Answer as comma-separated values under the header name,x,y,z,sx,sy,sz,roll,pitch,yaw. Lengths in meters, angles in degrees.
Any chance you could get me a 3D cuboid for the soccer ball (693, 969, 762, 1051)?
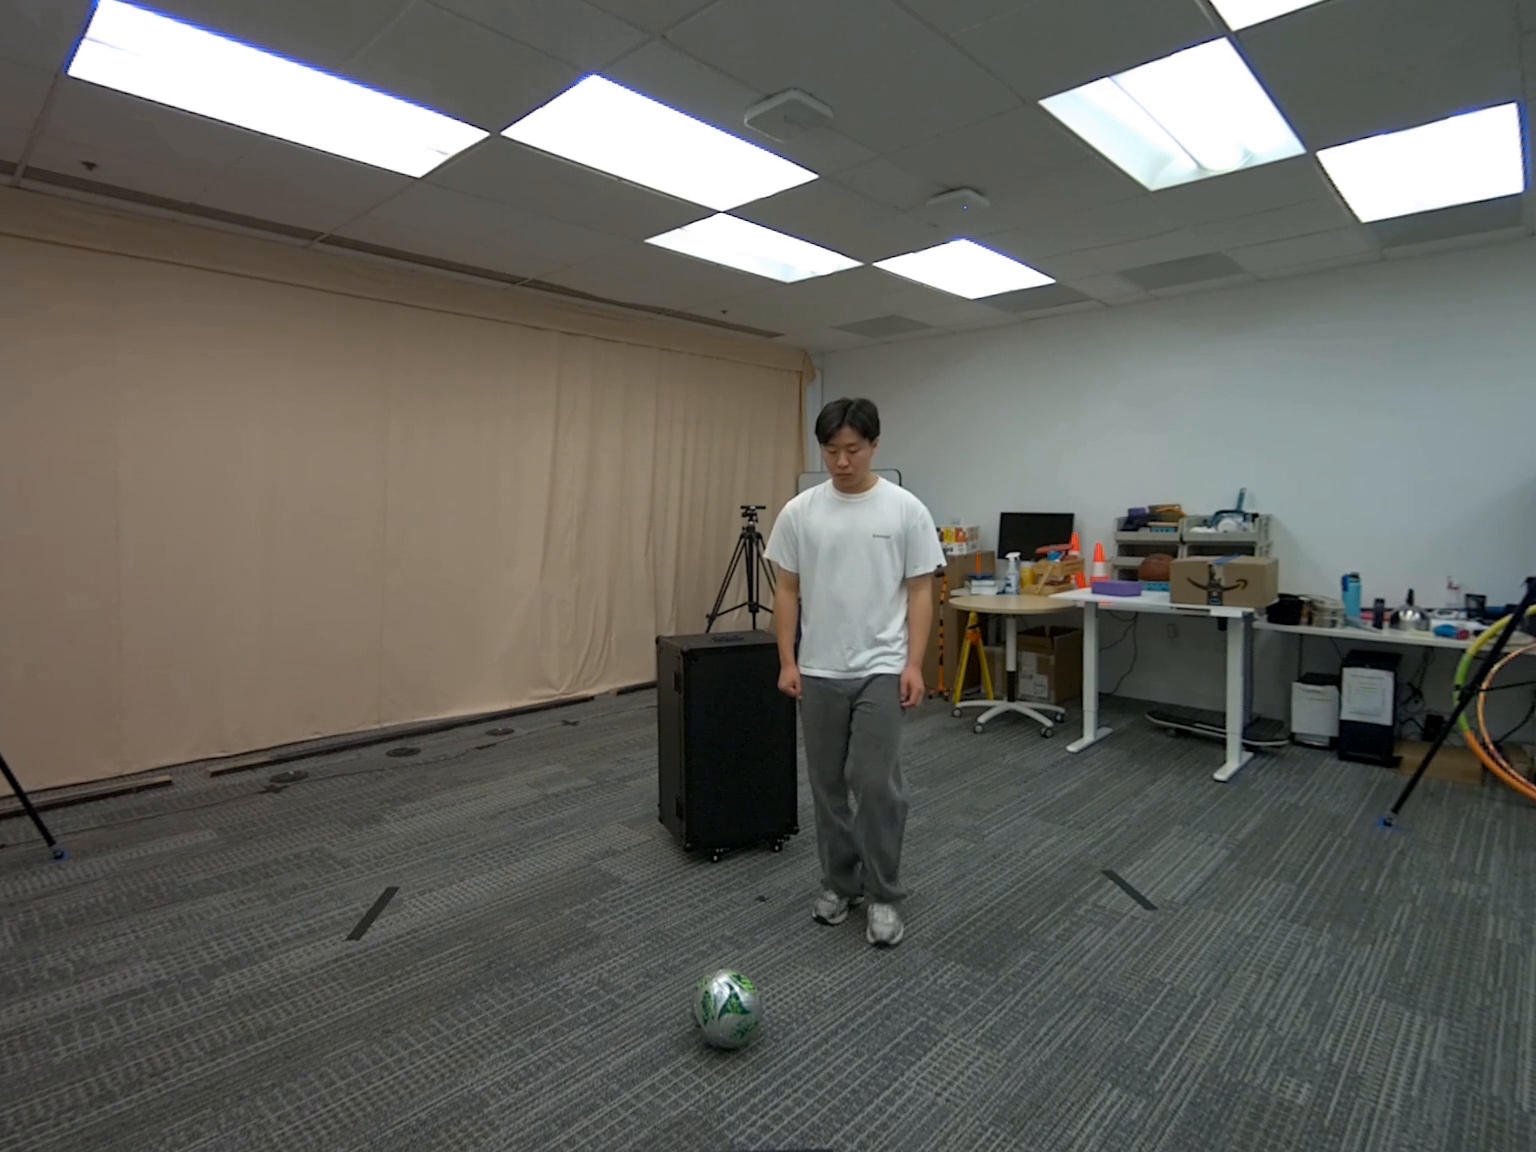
name,x,y,z,sx,sy,sz,roll,pitch,yaw
soccer ball,-0.103,1.112,2.183,0.187,0.187,0.188,0,4,-2
